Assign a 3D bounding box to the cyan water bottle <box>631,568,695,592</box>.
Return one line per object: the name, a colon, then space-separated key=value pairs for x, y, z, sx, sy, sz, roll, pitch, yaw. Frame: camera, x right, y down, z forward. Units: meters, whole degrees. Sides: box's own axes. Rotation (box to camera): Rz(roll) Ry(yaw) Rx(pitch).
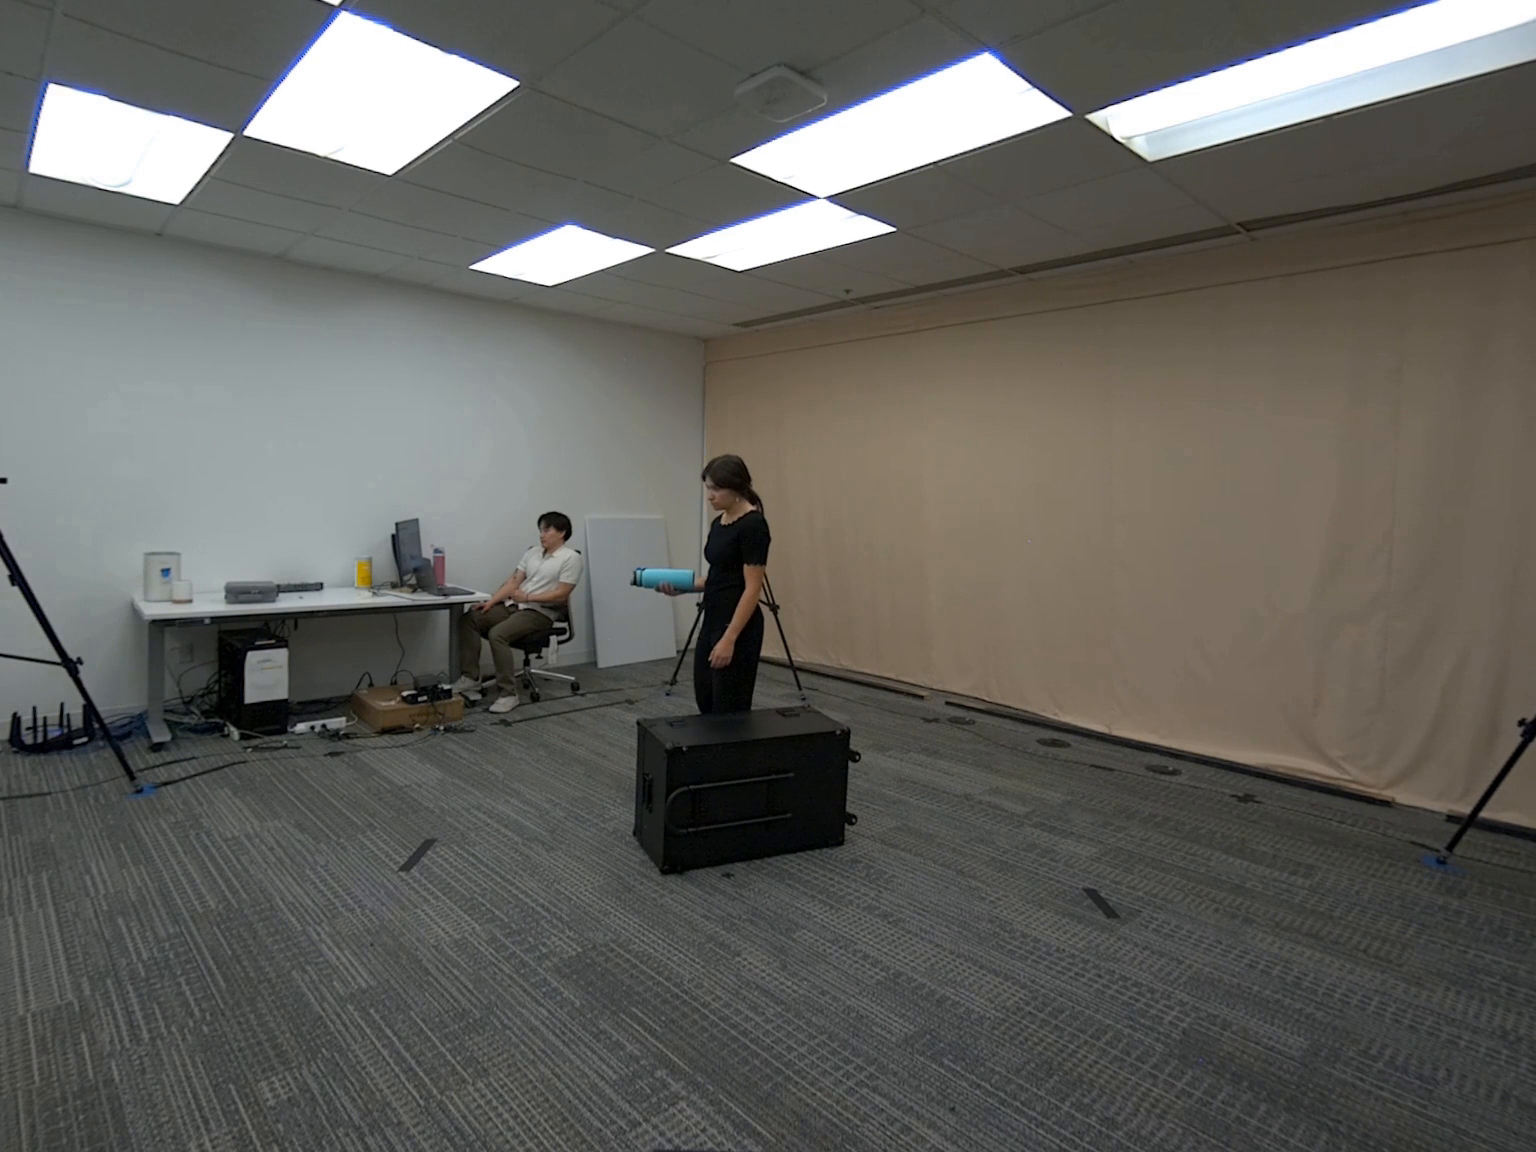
cyan water bottle: x=-0.475 y=0.012 z=3.775 sx=0.284 sy=0.092 sz=0.092 roll=3 pitch=4 yaw=3
